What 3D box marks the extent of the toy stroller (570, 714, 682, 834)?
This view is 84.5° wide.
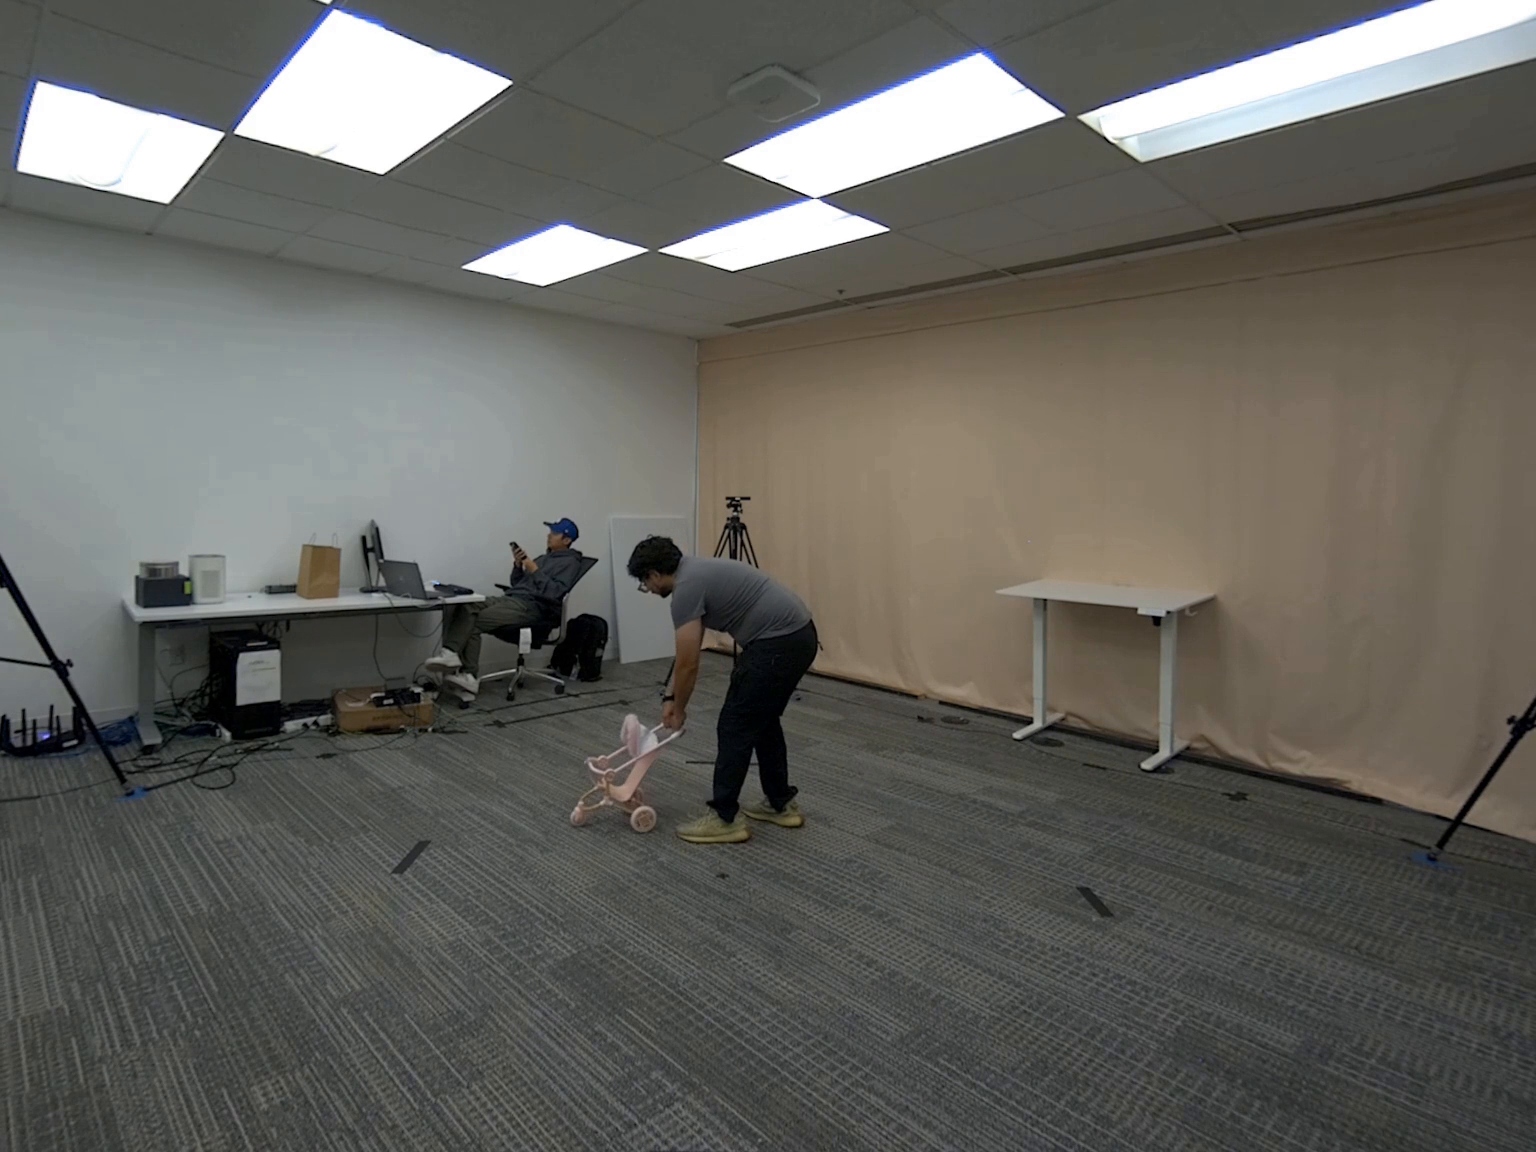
[{"bbox_3d":[-0.623,0.830,3.589,0.337,0.535,0.285,18,-1,-13],"label":"toy stroller"}]
